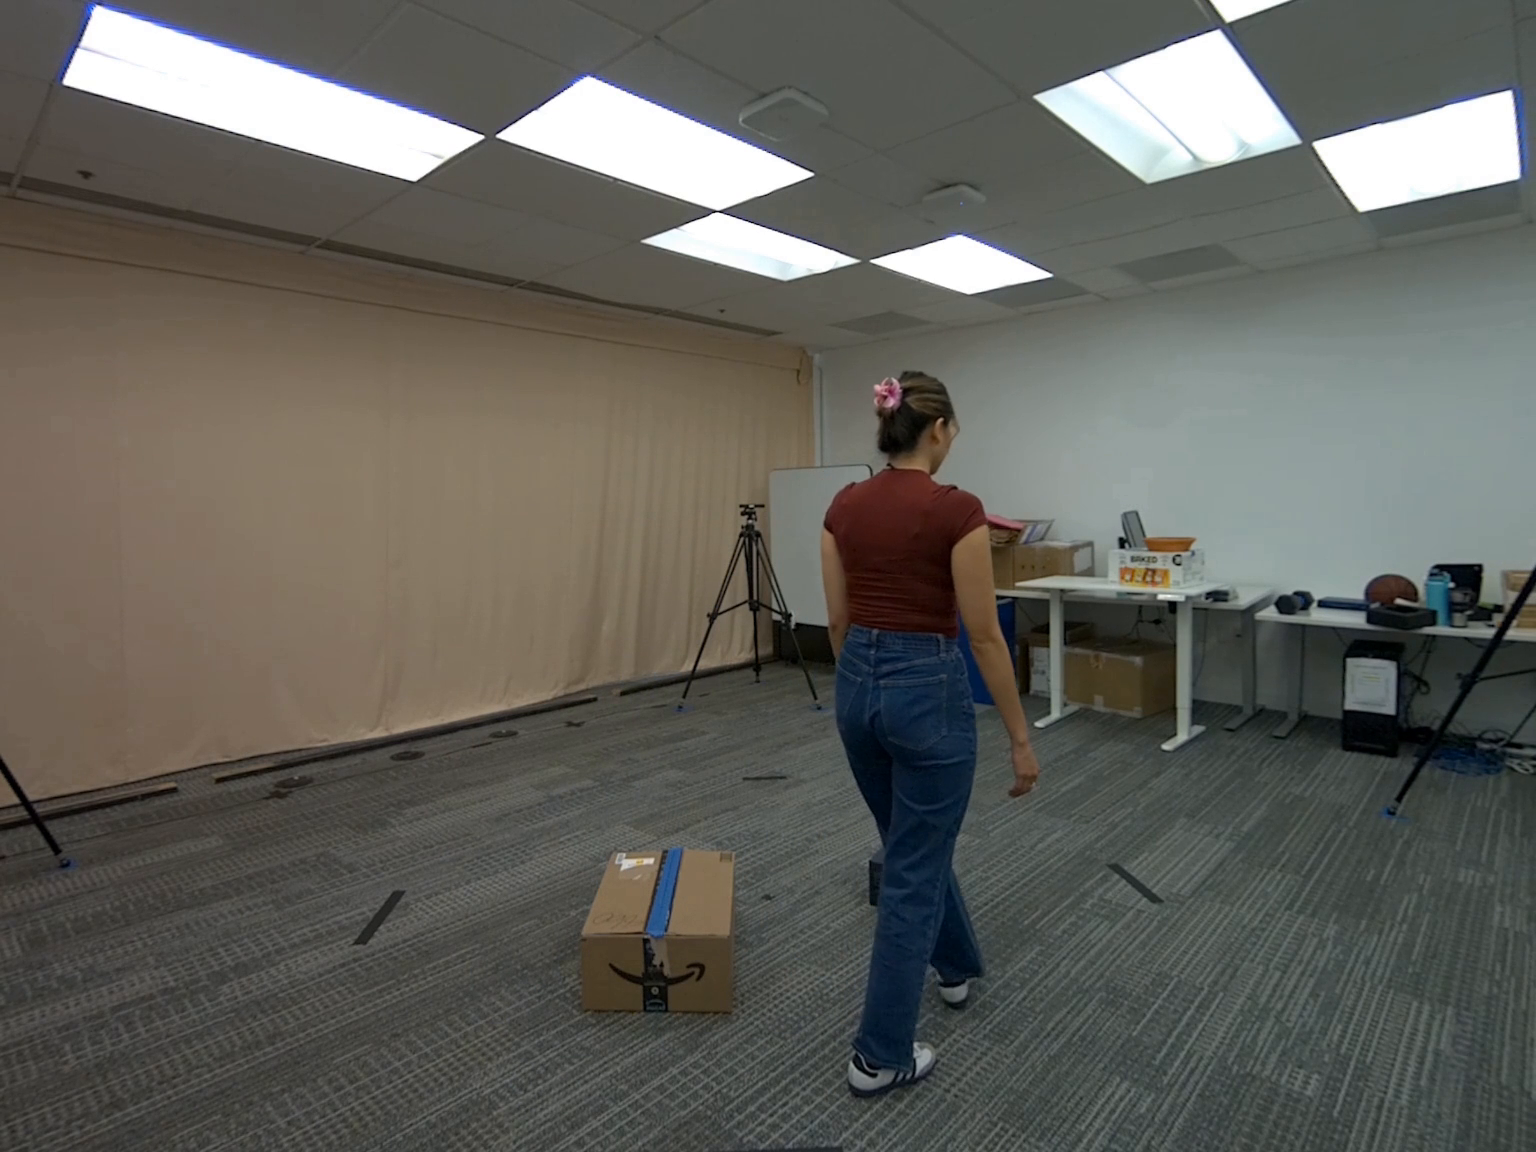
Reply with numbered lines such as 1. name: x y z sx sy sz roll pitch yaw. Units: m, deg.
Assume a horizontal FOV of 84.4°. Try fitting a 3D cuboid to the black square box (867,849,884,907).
1. black square box: 0.500 1.047 2.948 0.223 0.155 0.222 1 5 28
